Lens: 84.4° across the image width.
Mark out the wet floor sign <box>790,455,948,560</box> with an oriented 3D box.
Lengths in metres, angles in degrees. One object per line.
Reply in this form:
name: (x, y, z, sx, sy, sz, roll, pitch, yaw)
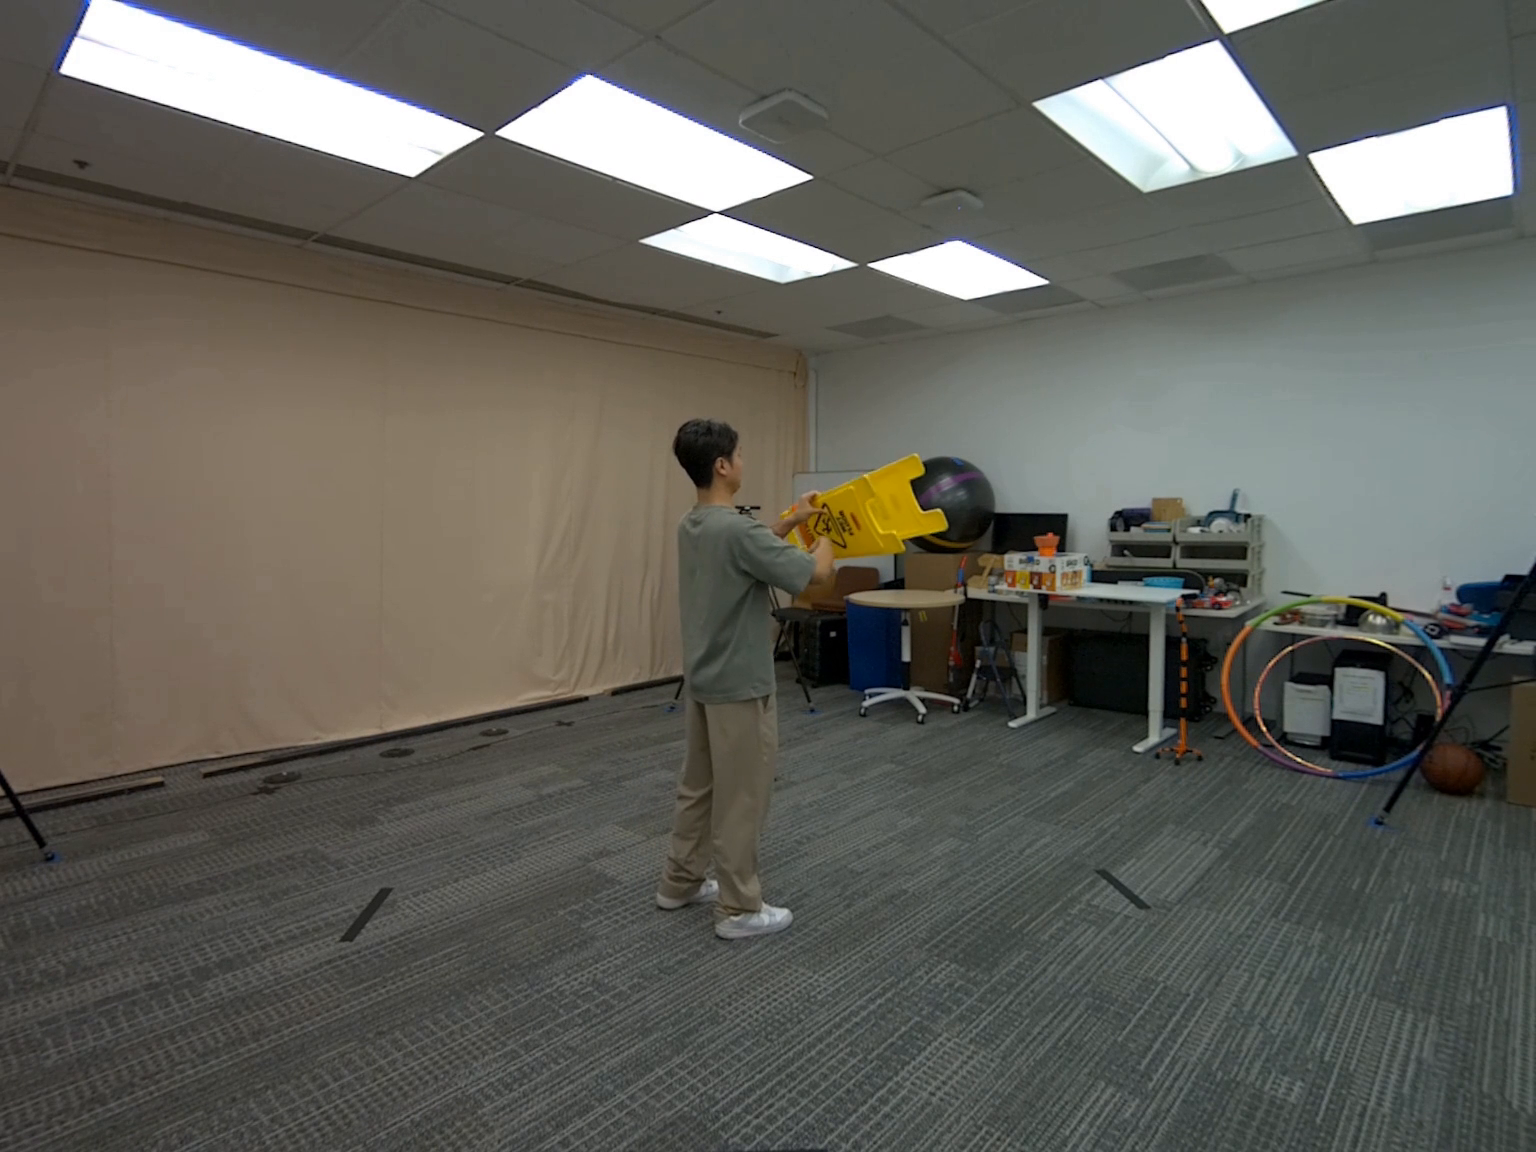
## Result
wet floor sign: (0.271, -0.192, 3.020, 0.284, 0.281, 0.662, -24, 6, -35)
